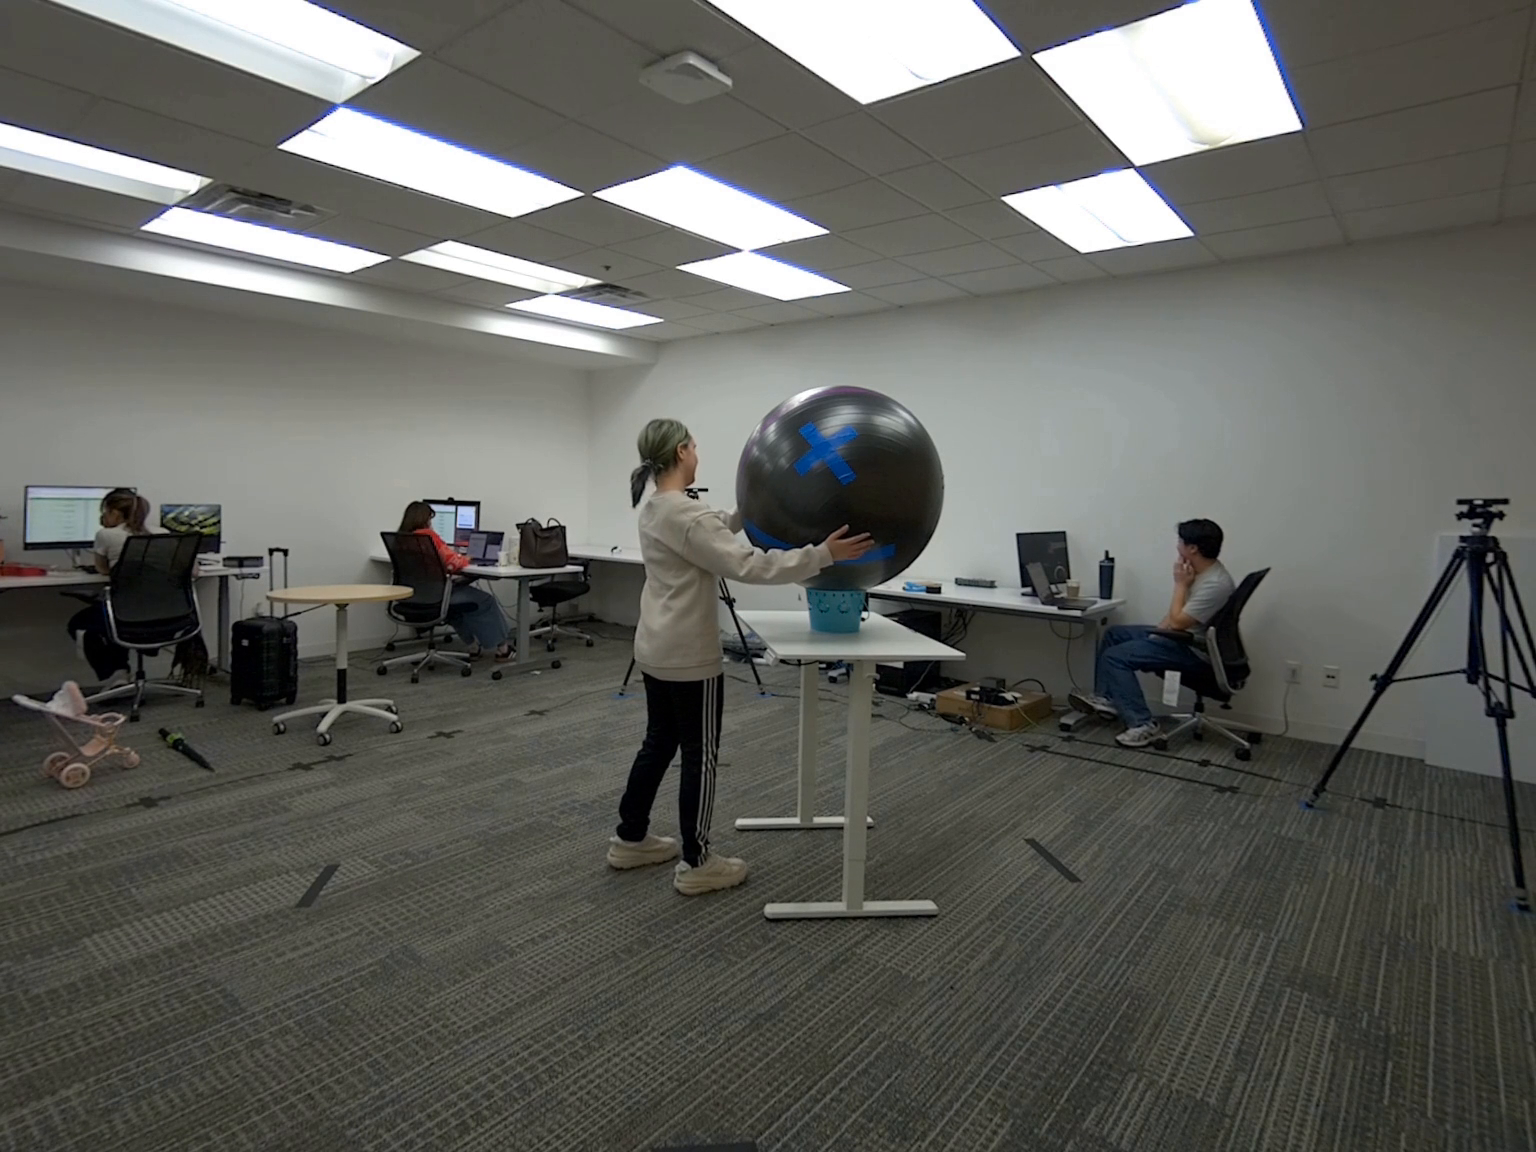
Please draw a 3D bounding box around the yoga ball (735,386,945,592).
[{"bbox_3d":[0.255,-0.317,3.133,0.757,0.755,0.762,1,4,-2],"label":"yoga ball"}]
